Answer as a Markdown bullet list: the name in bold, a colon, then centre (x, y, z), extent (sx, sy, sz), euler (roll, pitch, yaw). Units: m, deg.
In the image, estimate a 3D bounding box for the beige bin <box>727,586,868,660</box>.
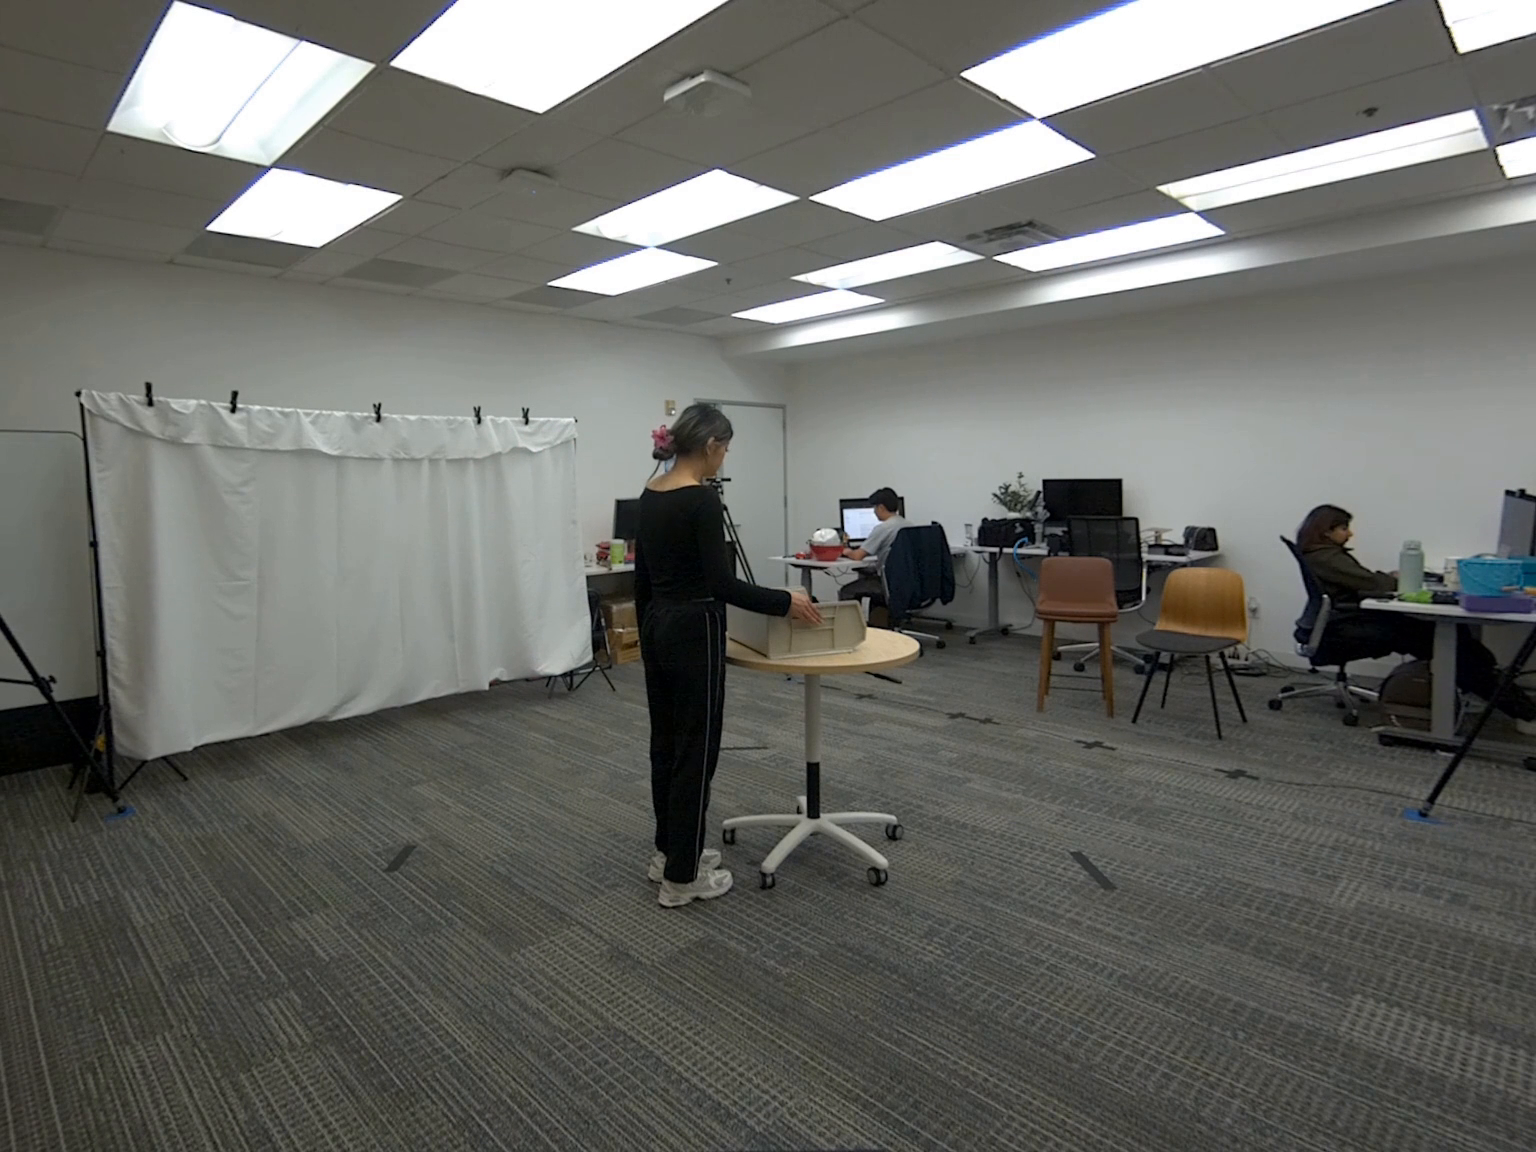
- **beige bin**: centre (0.087, 0.156, 3.078), extent (0.370, 0.188, 0.432), euler (-4, 8, -21)
